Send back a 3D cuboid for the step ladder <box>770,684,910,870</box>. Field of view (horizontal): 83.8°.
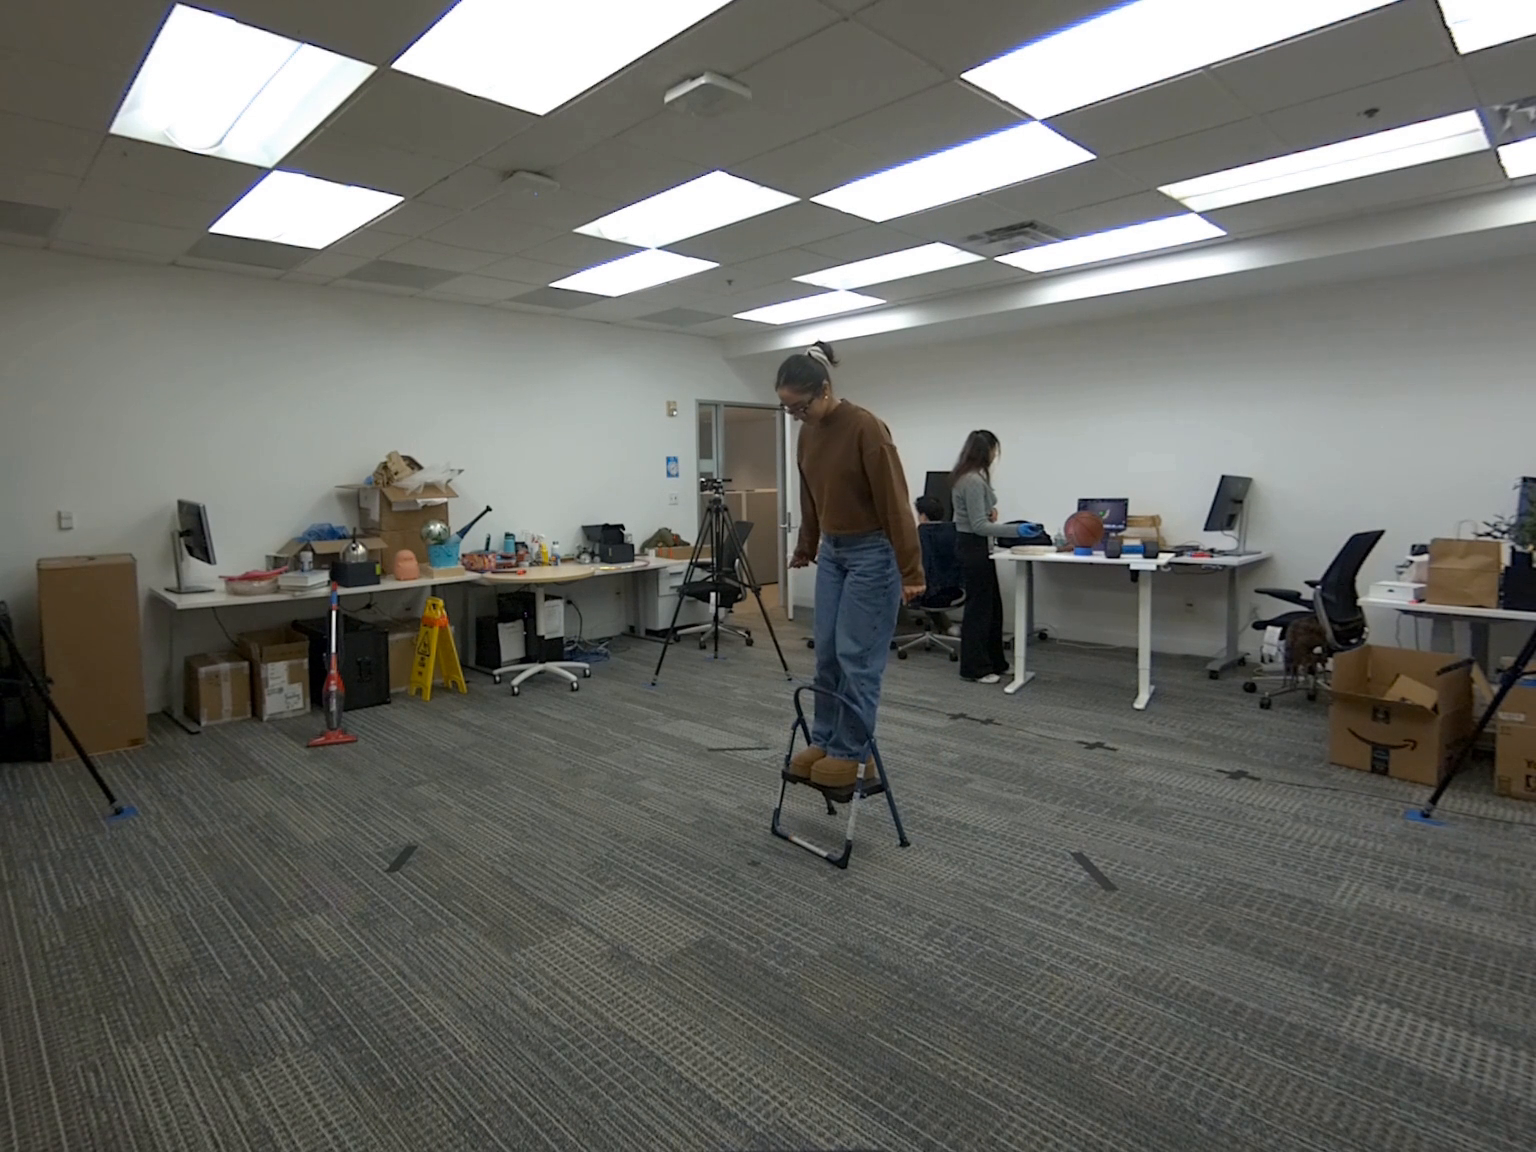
[{"bbox_3d":[0.266,0.718,3.287,0.340,0.604,0.443,-5,6,-38],"label":"step ladder"}]
